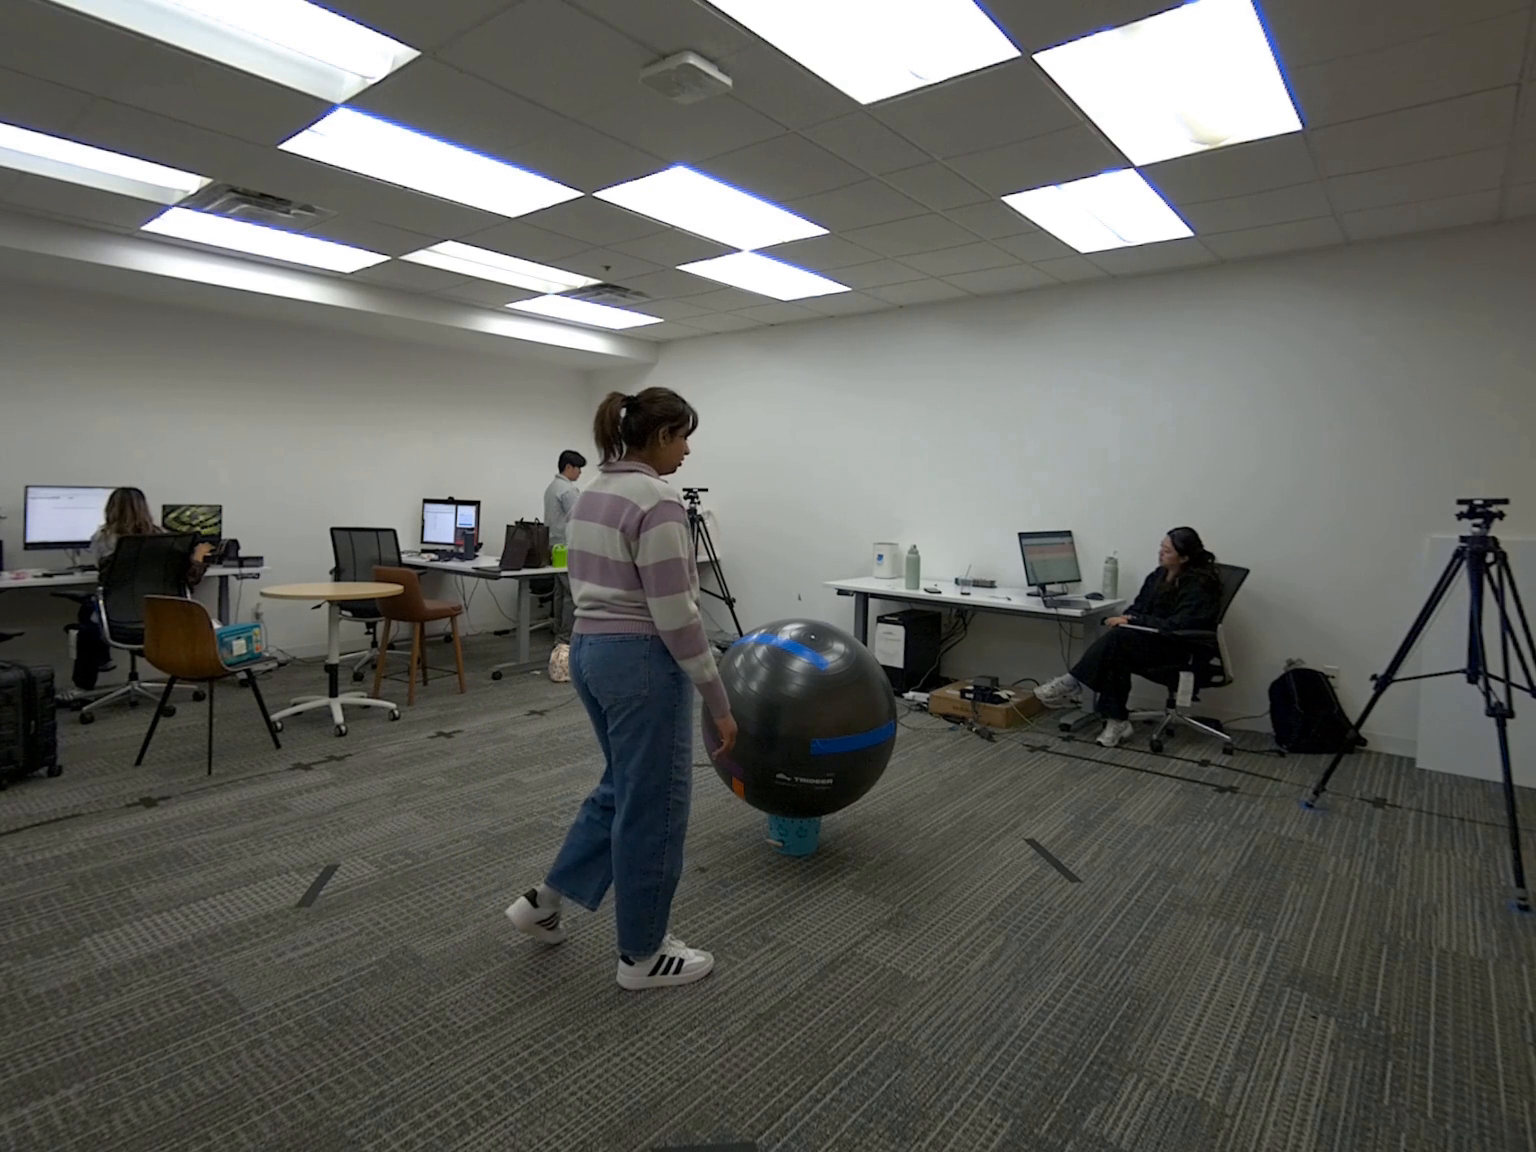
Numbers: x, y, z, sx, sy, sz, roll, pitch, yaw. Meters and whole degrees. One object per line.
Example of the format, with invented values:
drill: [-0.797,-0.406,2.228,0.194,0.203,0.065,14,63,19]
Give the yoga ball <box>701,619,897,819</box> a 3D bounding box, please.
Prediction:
yoga ball: [0.119,0.550,3.304,0.757,0.756,0.762,1,4,-2]
